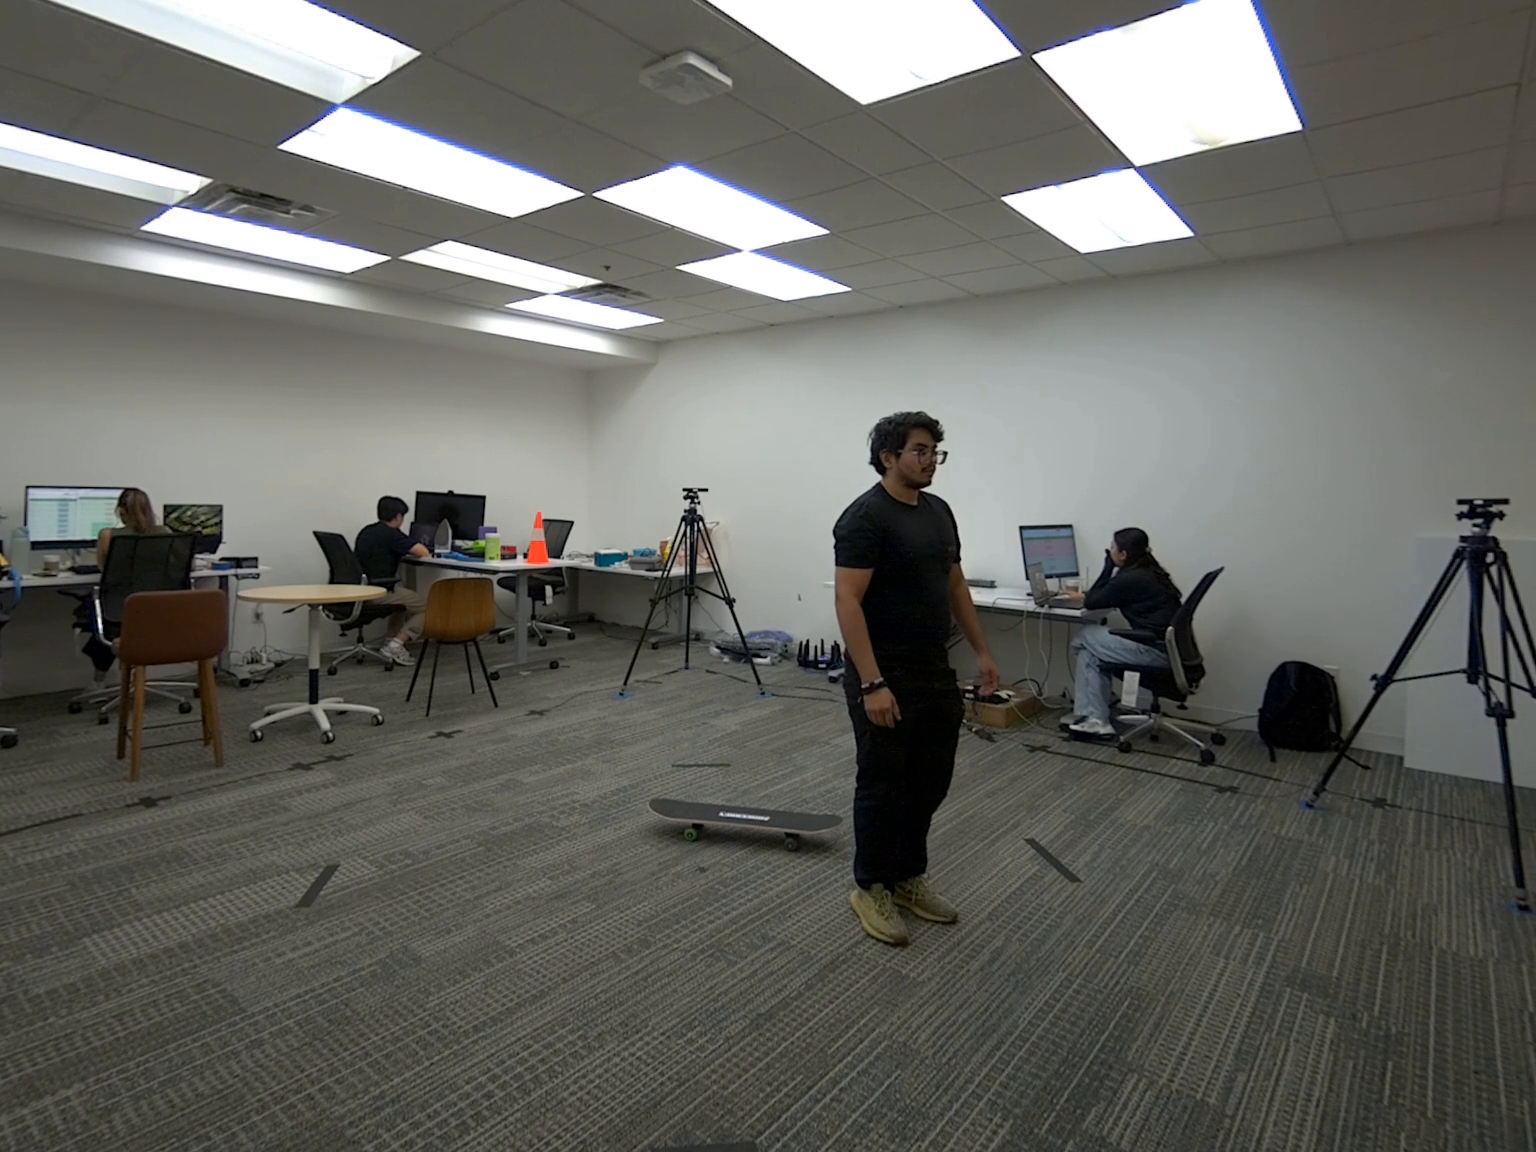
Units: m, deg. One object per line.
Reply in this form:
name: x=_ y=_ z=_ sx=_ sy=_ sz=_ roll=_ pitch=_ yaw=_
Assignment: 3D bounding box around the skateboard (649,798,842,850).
skateboard: x=-0.105 y=0.985 z=3.396 sx=0.794 sy=0.110 sz=0.192 roll=3 pitch=5 yaw=10
